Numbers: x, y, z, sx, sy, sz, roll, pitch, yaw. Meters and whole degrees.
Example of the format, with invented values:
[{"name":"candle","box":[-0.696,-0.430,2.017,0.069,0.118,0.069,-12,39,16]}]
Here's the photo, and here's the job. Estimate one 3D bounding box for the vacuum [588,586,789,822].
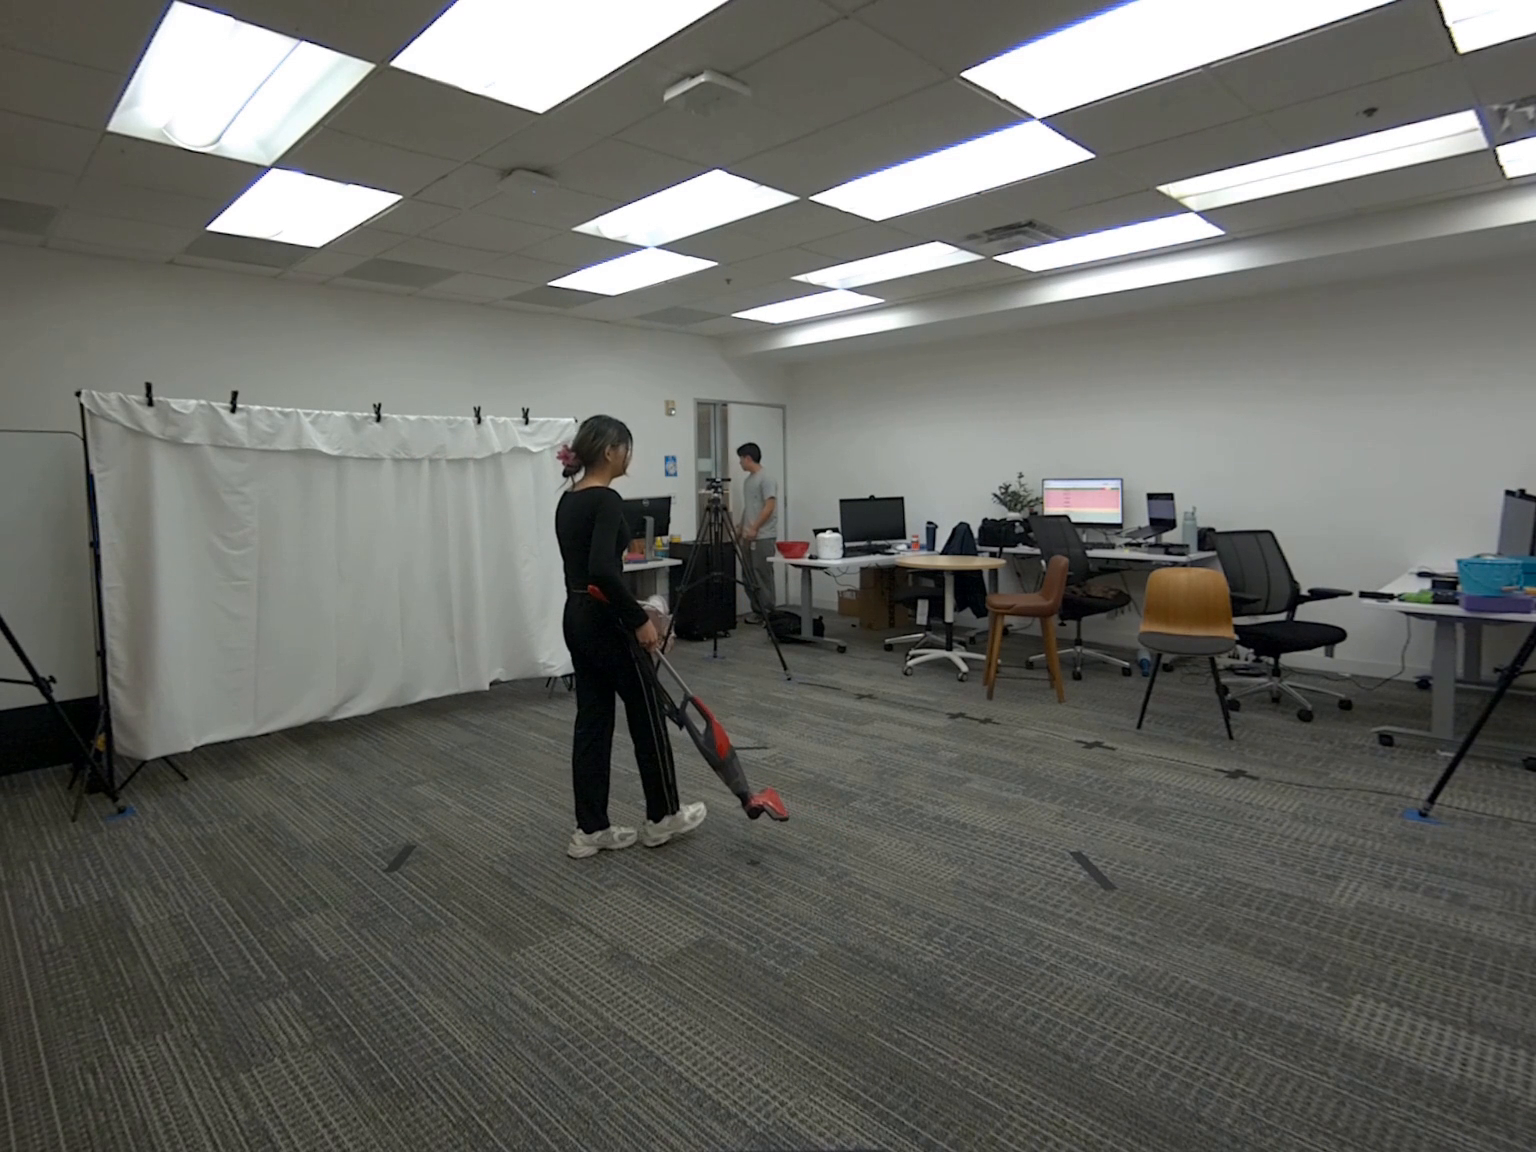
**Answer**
[{"name":"vacuum","box":[-0.294,0.470,3.085,0.144,1.033,0.257,-36,12,-4]}]
